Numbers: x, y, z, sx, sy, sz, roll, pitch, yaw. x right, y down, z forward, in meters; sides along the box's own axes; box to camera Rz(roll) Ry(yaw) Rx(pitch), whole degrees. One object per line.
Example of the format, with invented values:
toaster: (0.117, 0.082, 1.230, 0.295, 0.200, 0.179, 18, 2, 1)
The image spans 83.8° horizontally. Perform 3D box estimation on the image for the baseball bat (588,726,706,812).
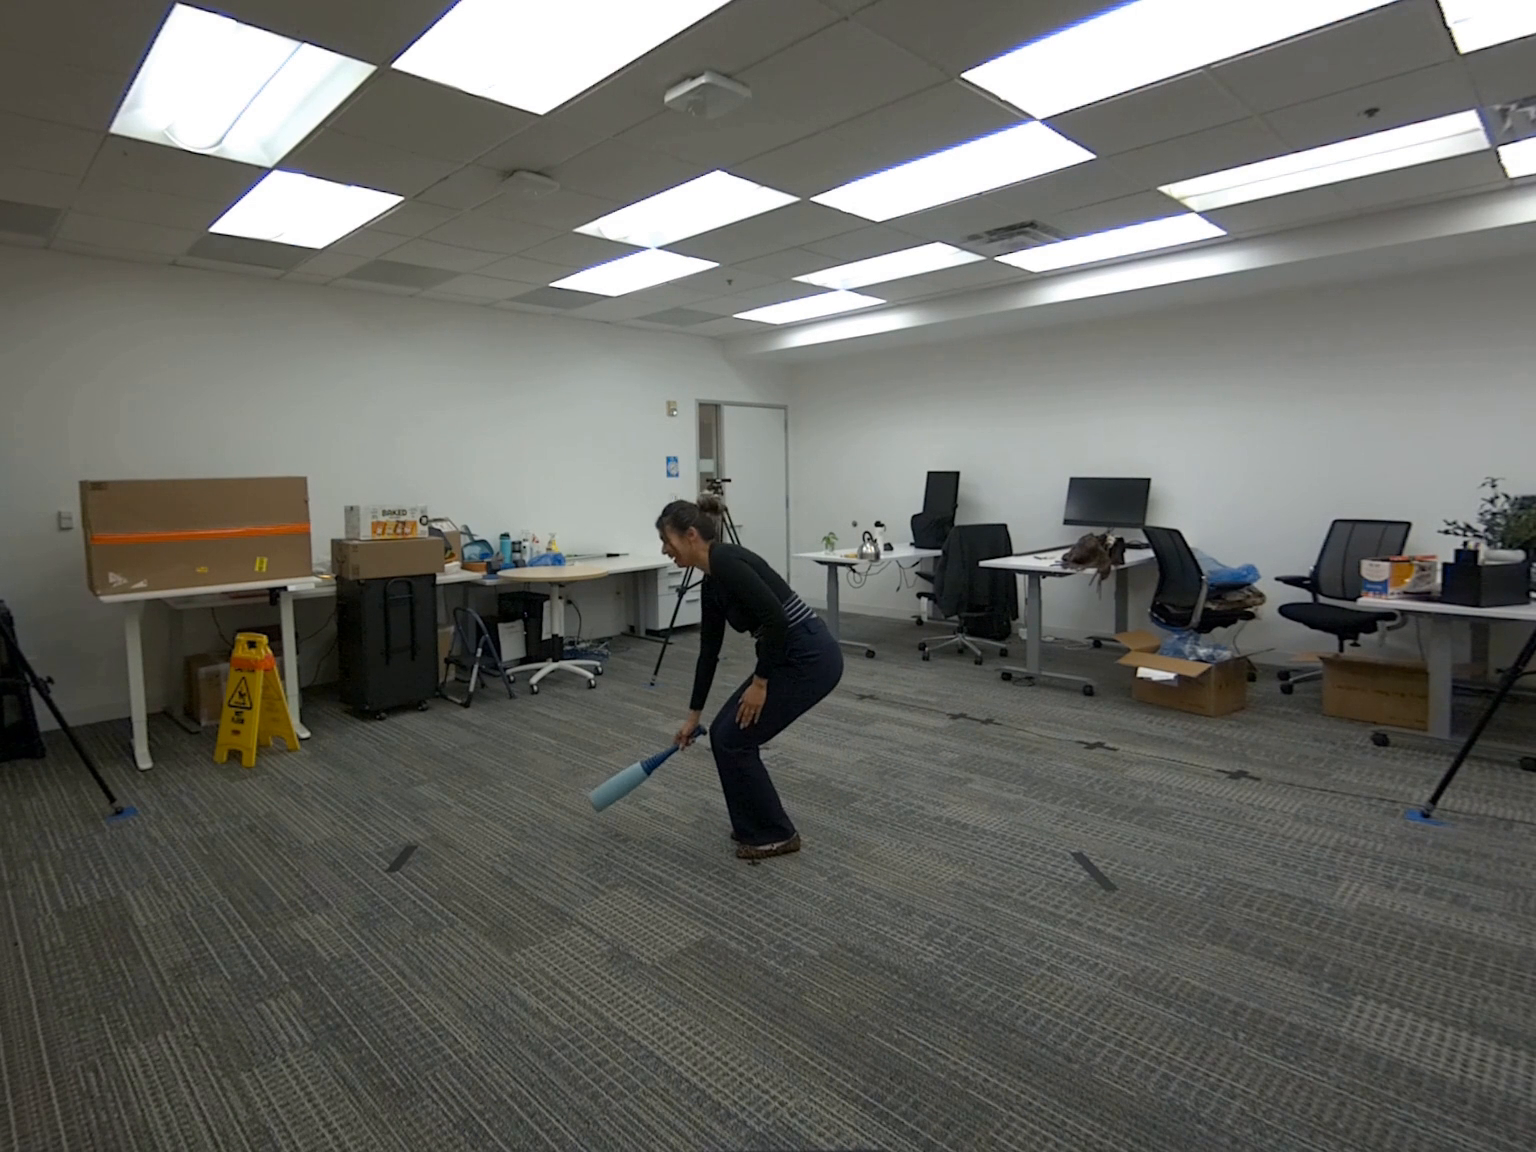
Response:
baseball bat: (-0.469, 0.759, 3.416, 0.542, 0.088, 0.090, -33, 8, -3)
